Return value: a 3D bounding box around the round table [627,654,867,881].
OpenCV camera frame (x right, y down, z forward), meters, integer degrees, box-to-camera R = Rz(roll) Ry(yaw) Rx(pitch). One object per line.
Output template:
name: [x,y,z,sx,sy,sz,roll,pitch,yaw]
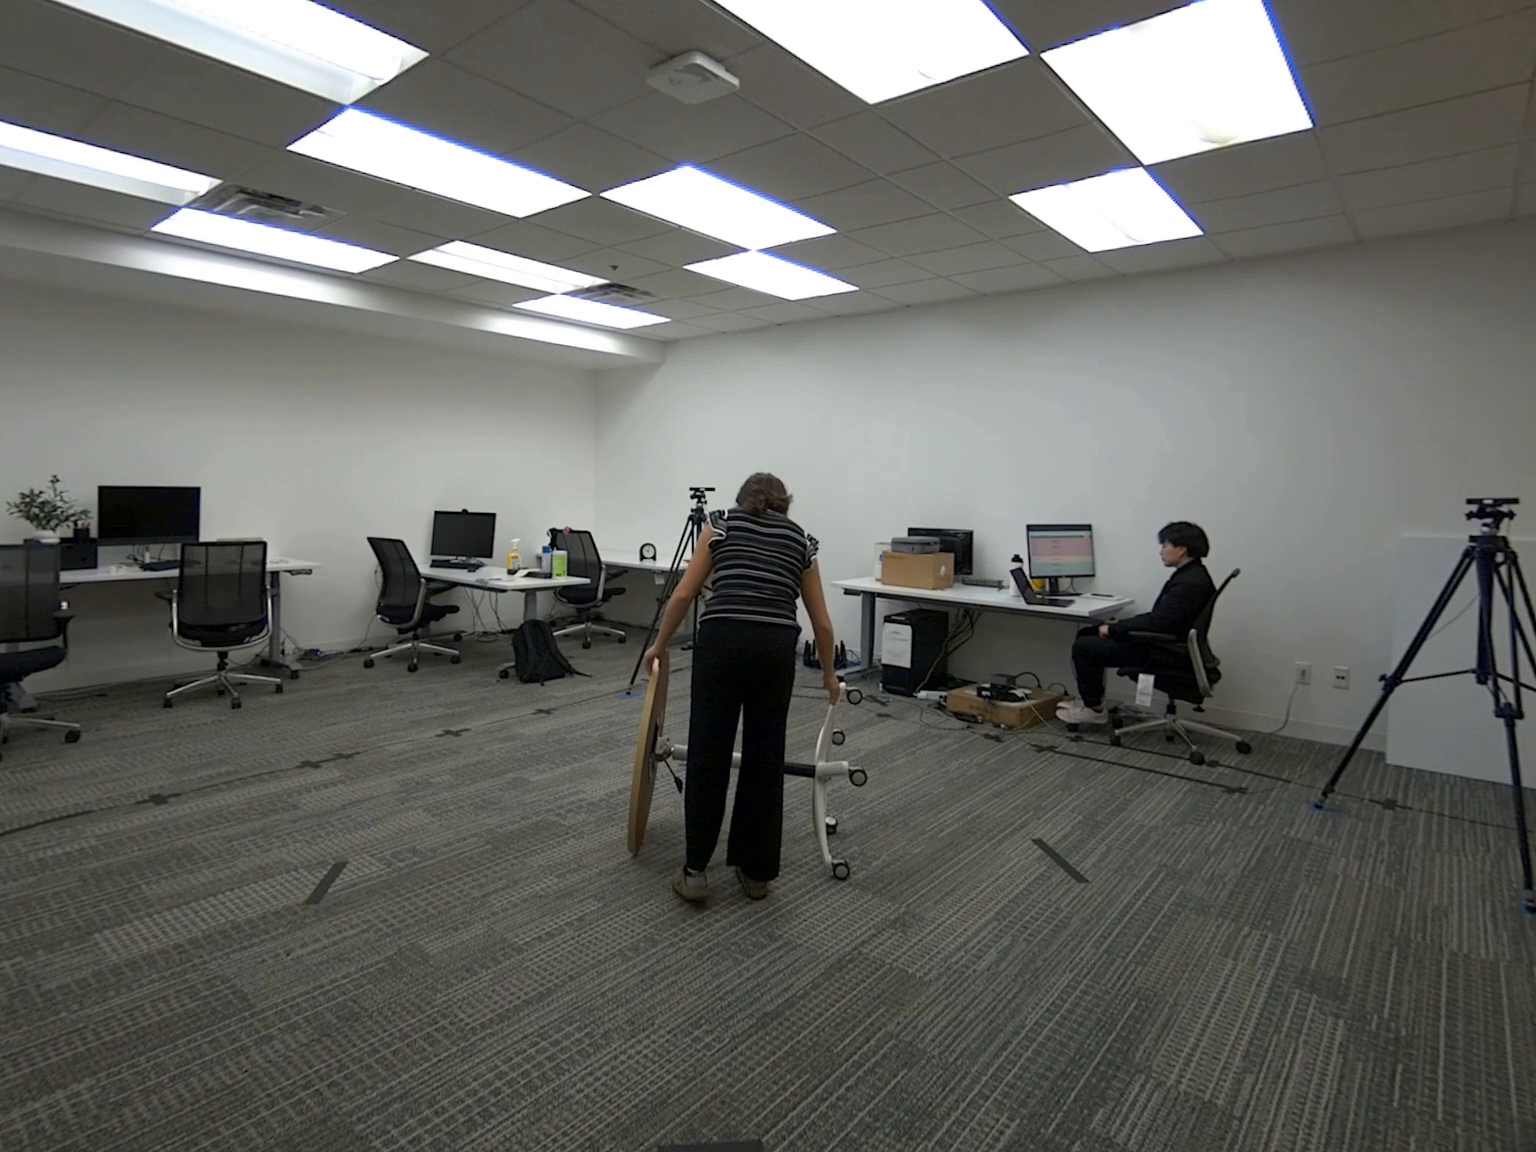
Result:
round table: [-0.081,0.722,3.280,0.795,0.762,0.766,7,4,0]
